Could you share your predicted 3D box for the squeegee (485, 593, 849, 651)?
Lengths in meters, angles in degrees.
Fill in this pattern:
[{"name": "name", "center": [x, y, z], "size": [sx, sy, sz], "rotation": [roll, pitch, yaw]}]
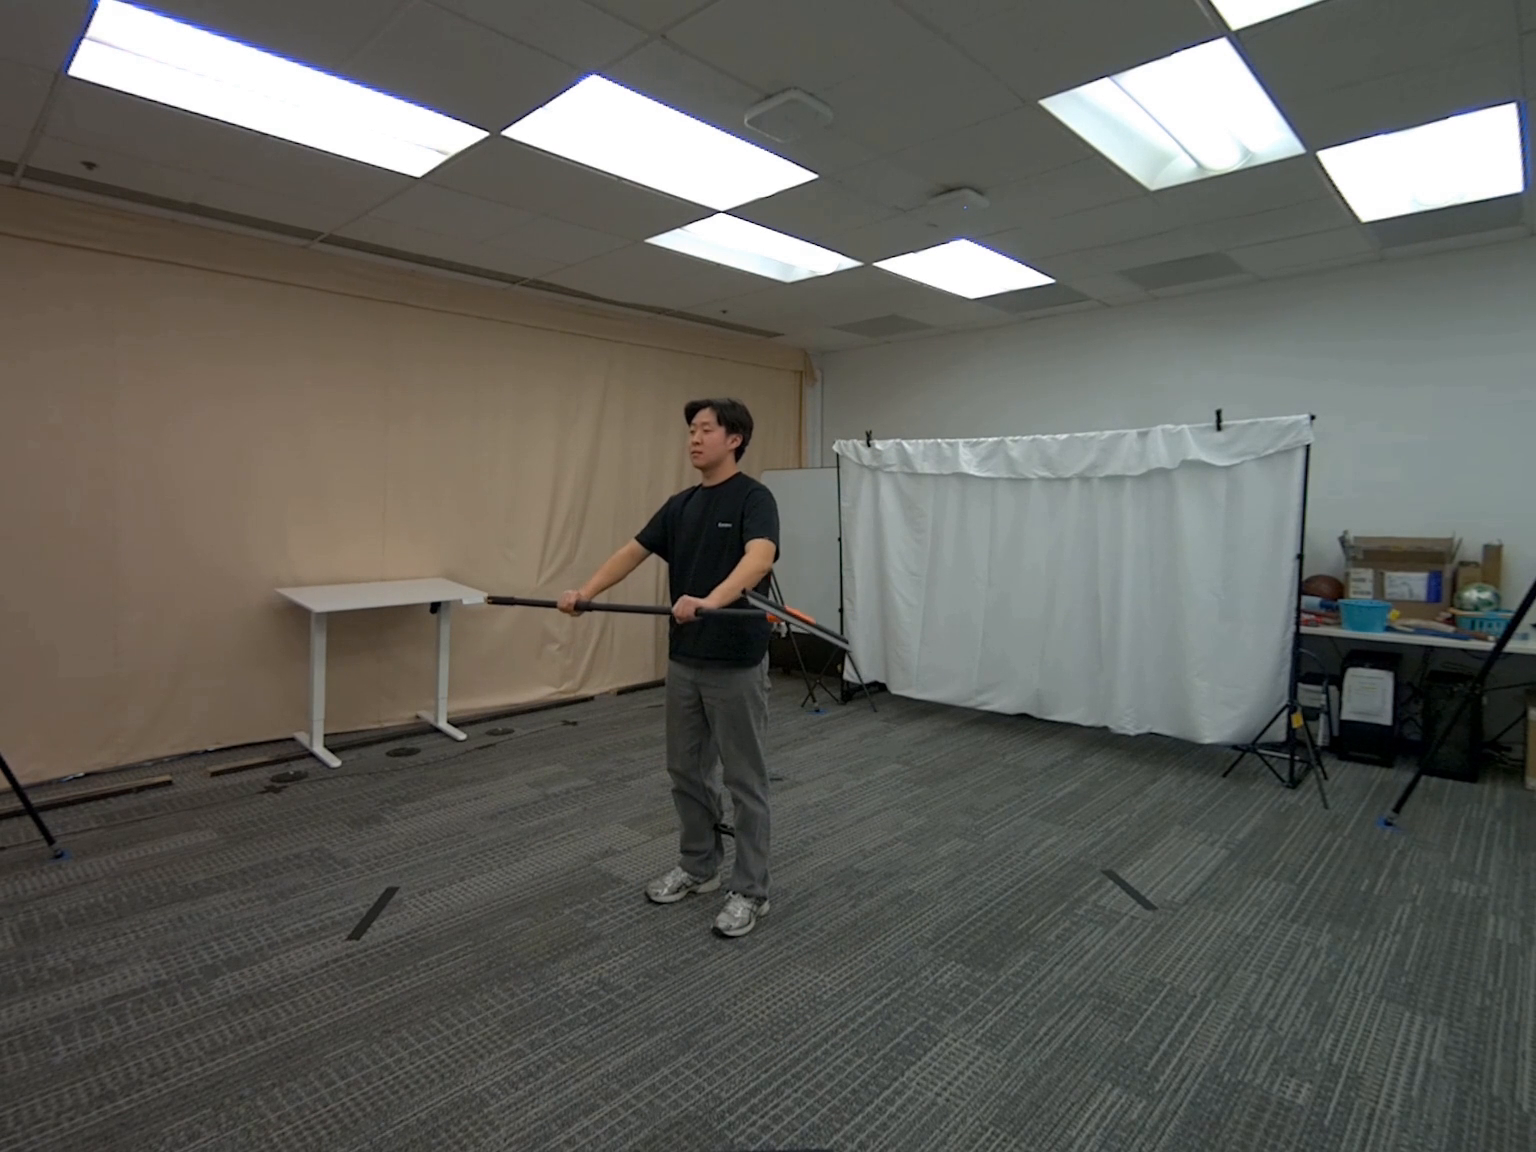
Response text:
[{"name": "squeegee", "center": [-0.485, 0.110, 2.655], "size": [1.588, 0.053, 0.421], "rotation": [1, -16, 44]}]
